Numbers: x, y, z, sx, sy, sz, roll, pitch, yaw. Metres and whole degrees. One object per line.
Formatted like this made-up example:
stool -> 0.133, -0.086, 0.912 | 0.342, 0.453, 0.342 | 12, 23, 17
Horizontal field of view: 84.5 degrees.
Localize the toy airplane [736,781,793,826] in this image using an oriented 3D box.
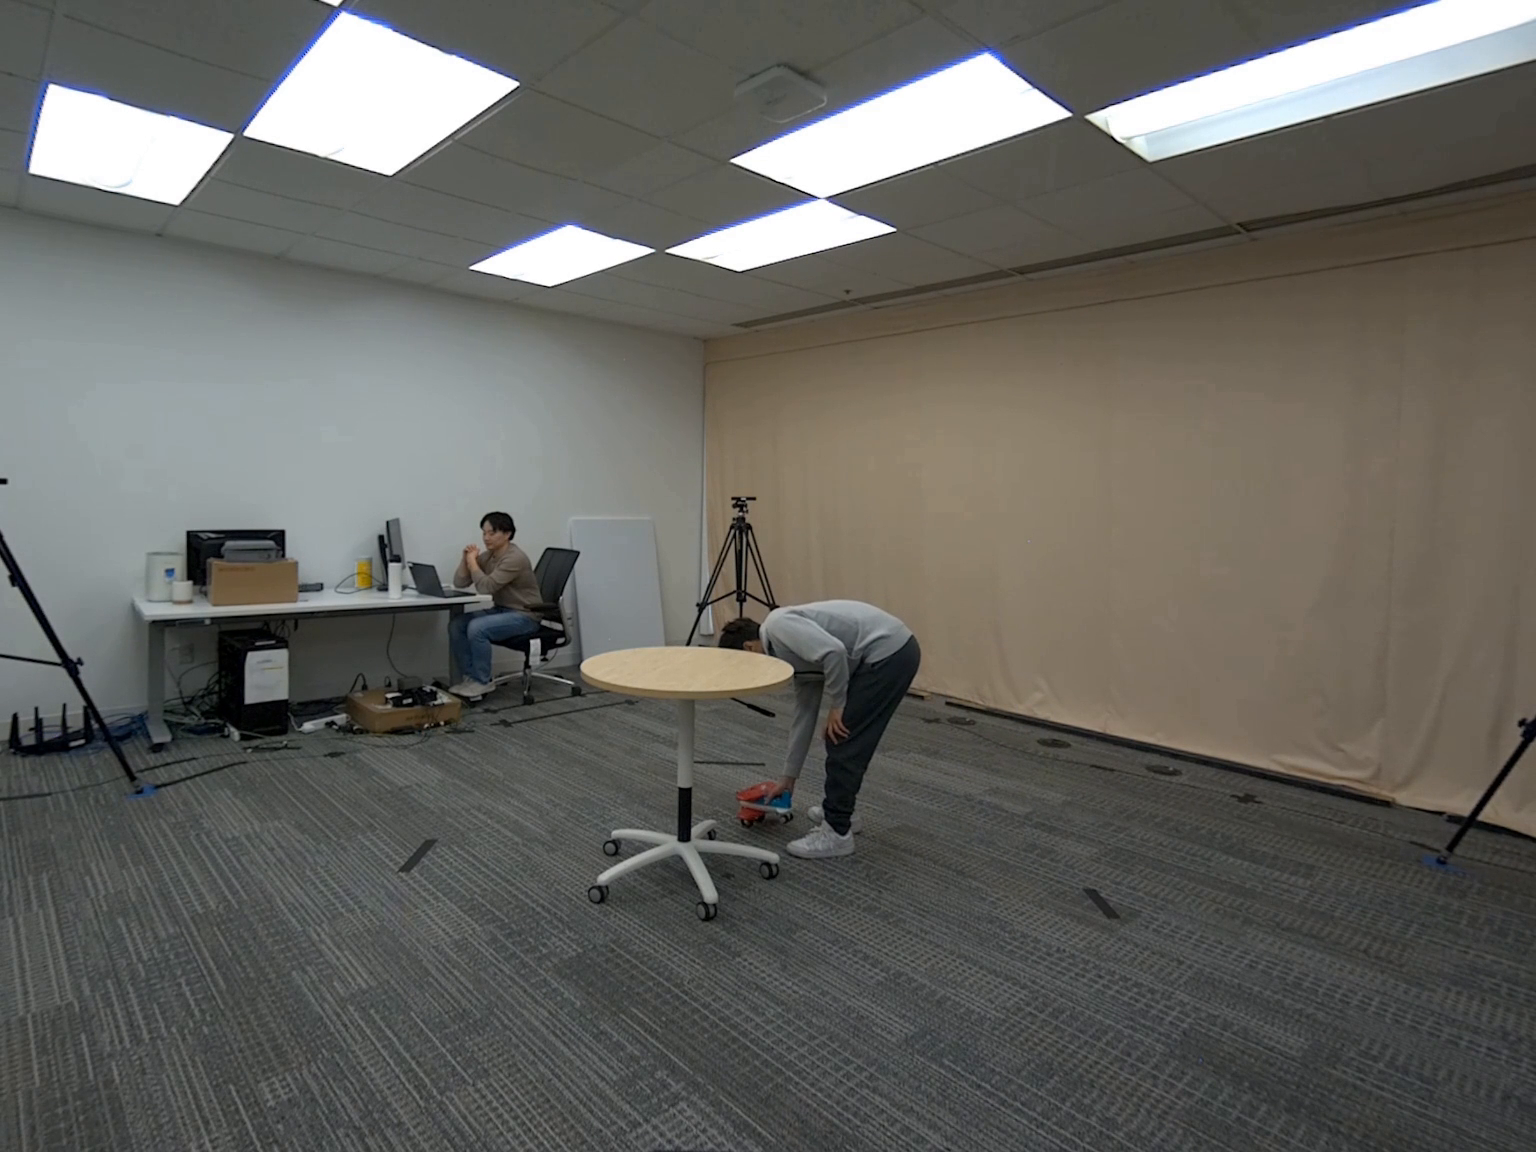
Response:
toy airplane -> -0.010, 0.978, 3.590 | 0.260, 0.157, 0.248 | -13, -6, 7
